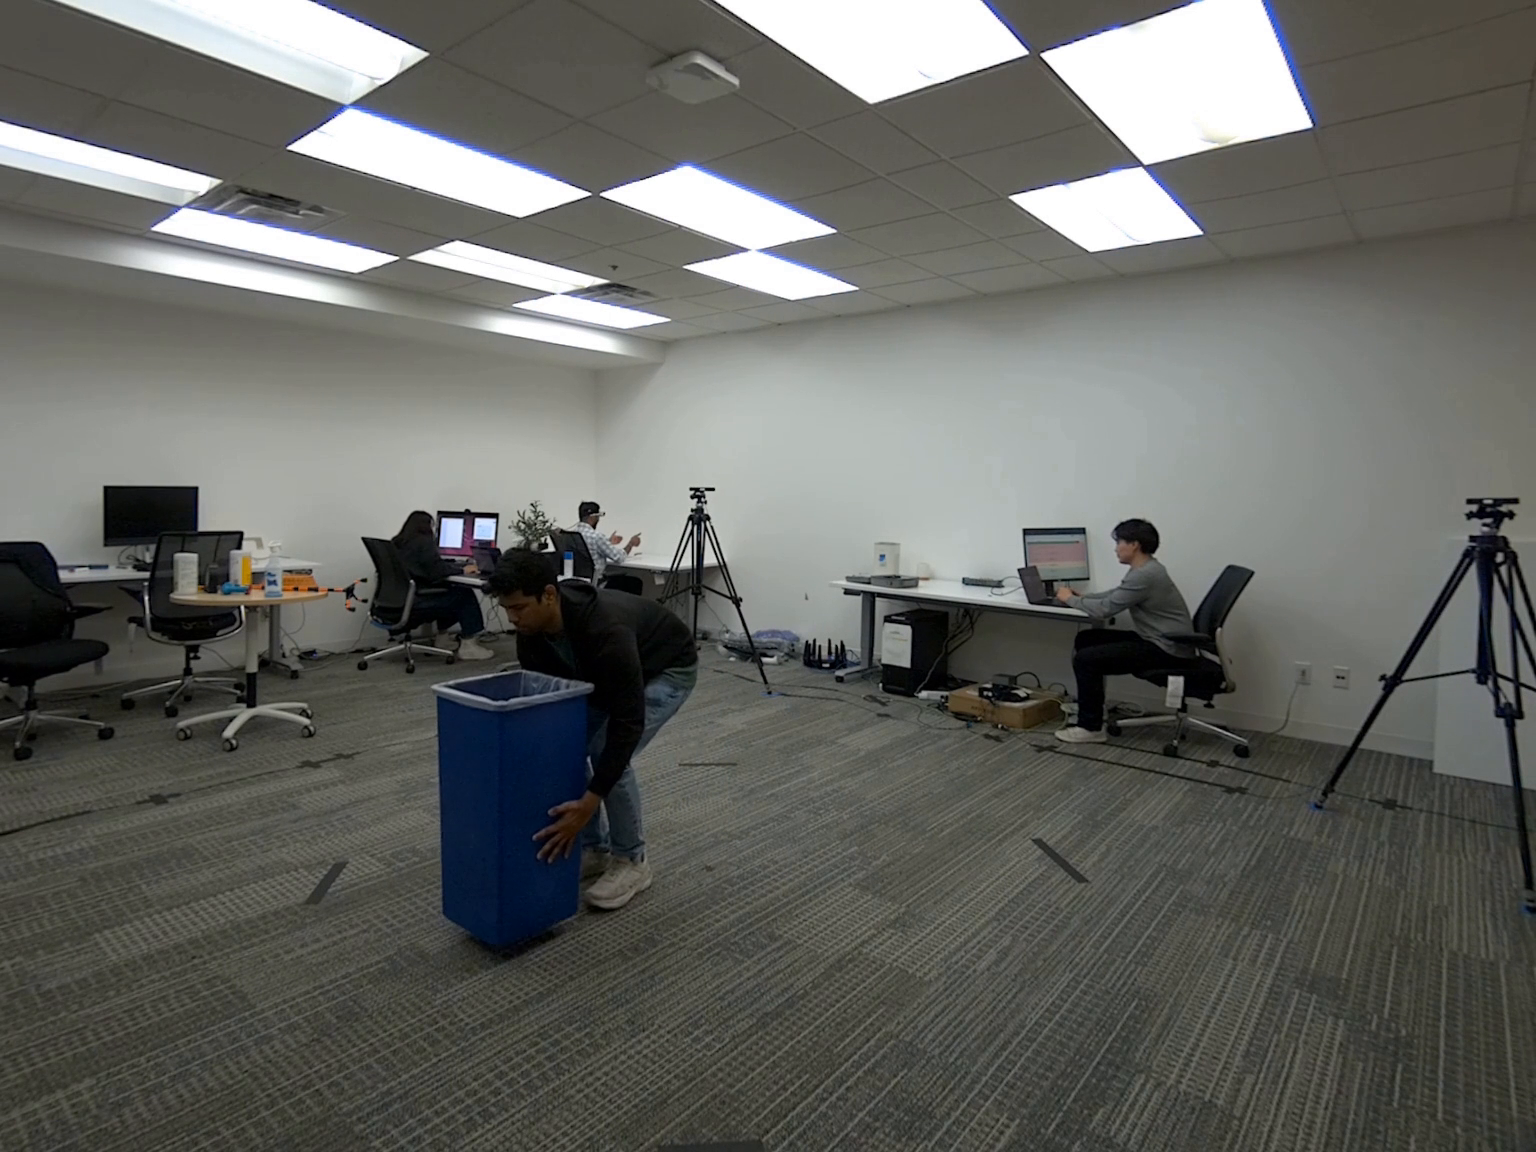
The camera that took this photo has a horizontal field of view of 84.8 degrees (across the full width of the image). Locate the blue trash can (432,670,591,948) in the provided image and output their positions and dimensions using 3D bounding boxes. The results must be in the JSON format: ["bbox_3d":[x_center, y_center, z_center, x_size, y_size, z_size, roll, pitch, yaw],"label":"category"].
[{"bbox_3d":[-0.809,0.693,2.615,0.390,0.712,0.363,2,2,37],"label":"blue trash can"}]
